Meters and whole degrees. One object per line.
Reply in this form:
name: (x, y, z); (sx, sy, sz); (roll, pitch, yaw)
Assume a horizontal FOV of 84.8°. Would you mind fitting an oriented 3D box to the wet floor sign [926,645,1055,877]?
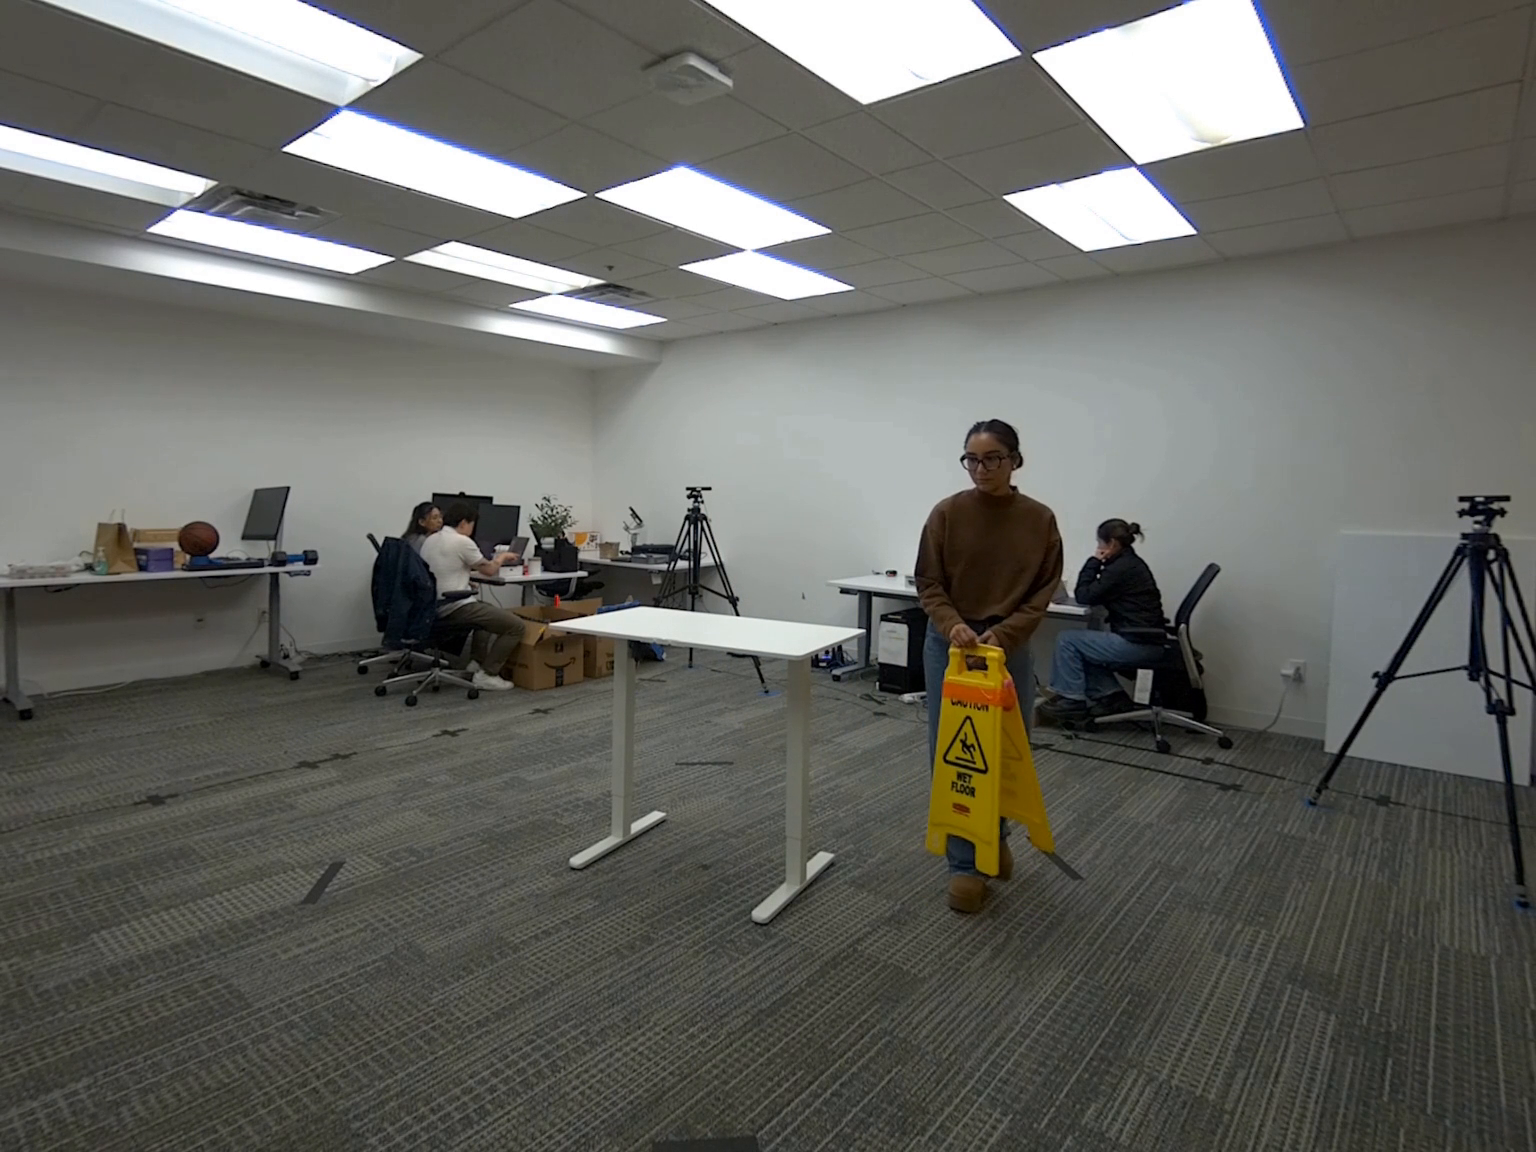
wet floor sign: (0.664, 0.537, 2.655); (0.282, 0.644, 0.291); (-5, 3, -34)
